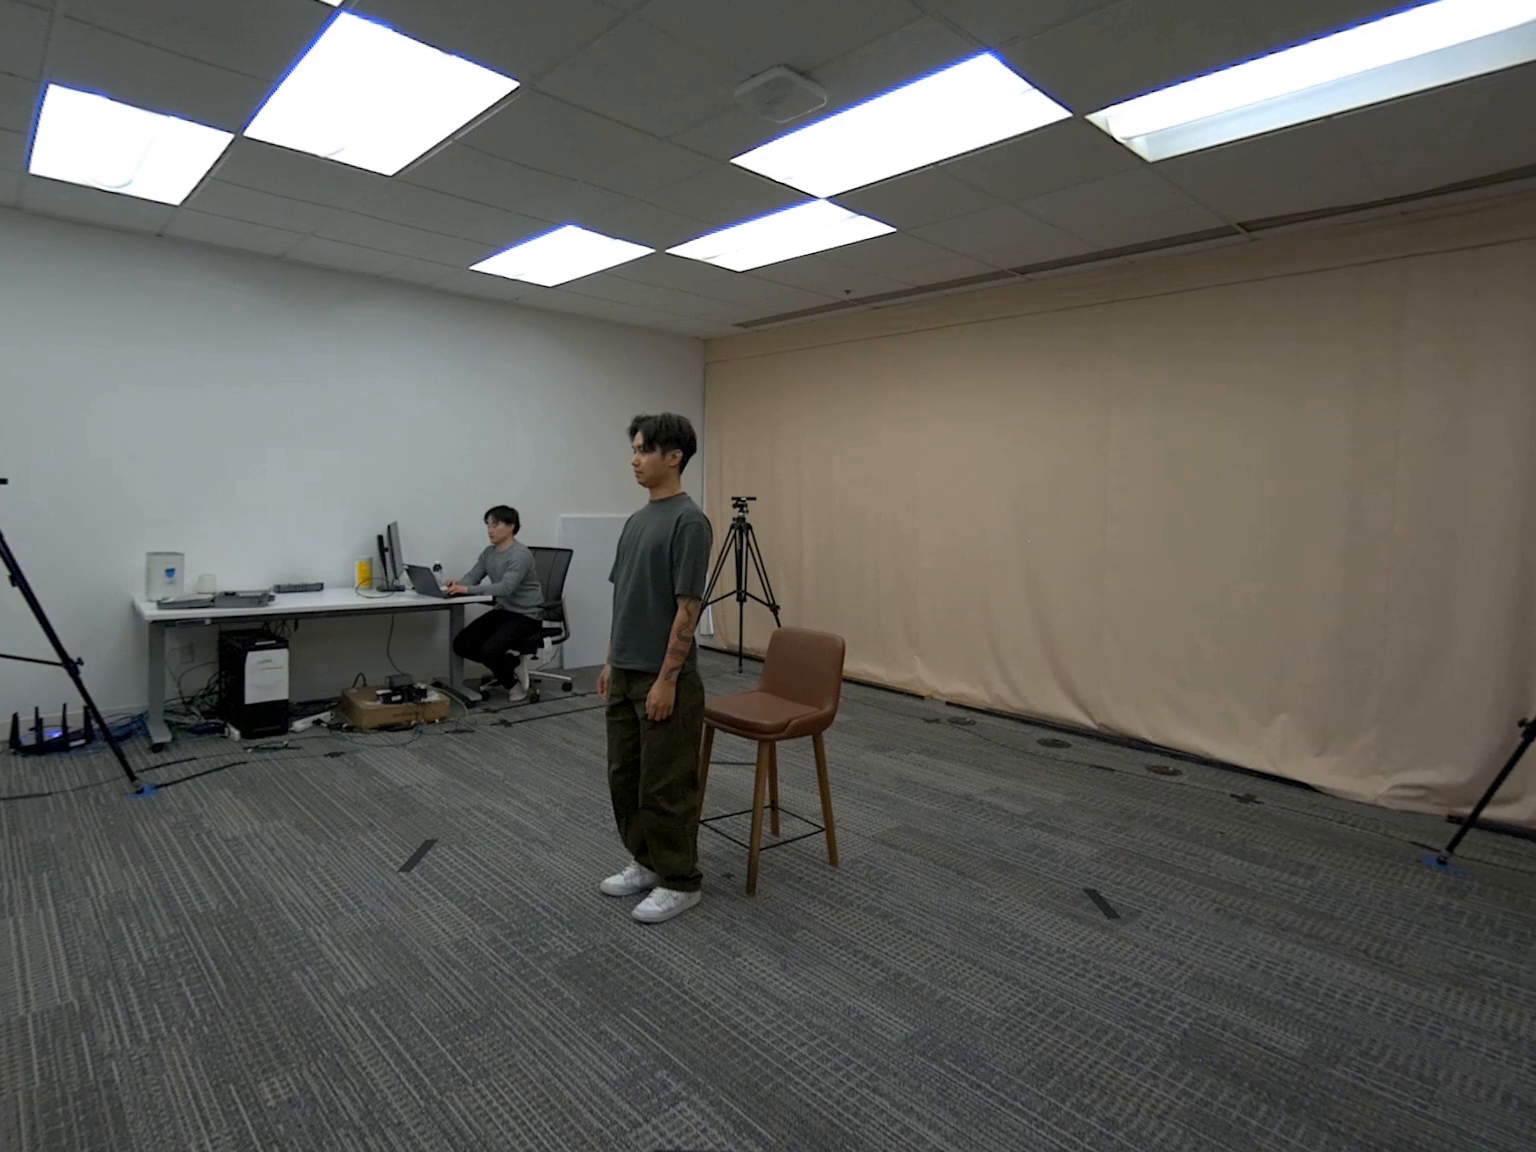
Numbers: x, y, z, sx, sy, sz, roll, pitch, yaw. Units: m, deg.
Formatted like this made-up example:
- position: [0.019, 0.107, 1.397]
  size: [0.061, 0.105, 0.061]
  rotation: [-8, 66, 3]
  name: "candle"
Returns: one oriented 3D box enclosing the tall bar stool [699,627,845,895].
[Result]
- position: [-0.009, 0.663, 3.216]
  size: [0.456, 0.889, 0.468]
  rotation: [2, 2, -39]
  name: "tall bar stool"
